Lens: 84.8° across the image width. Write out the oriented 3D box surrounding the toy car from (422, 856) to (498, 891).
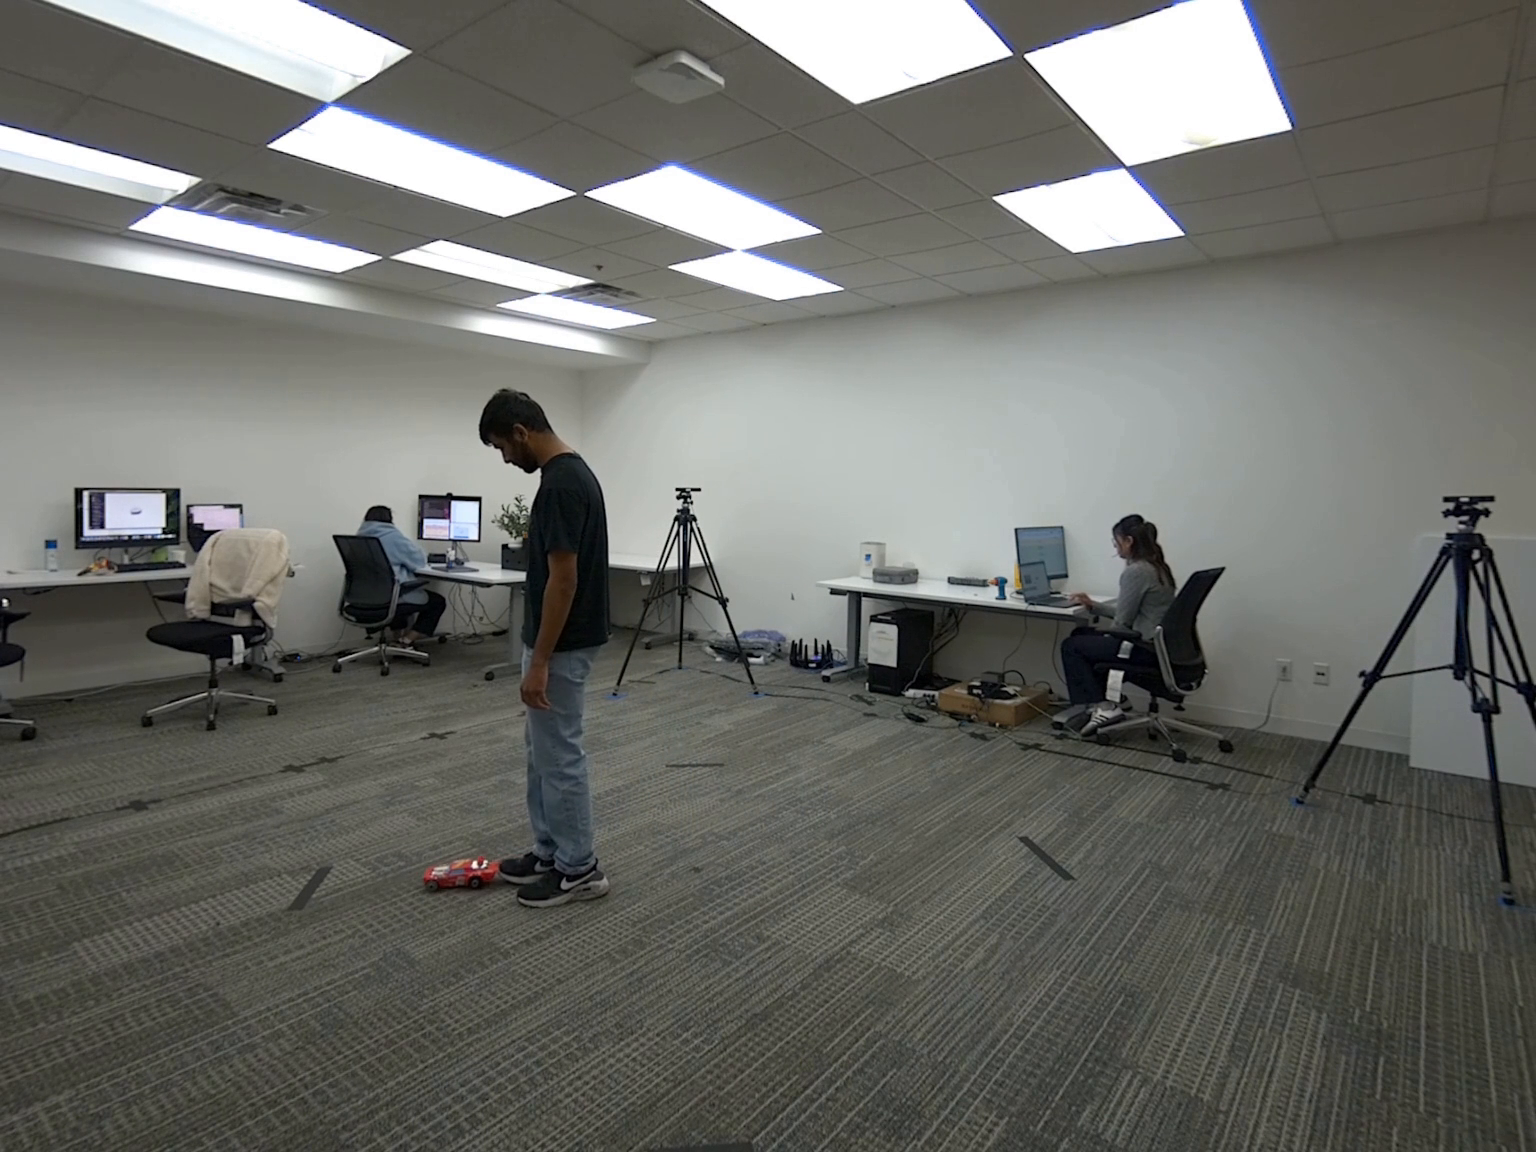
[{"bbox_3d":[-1.078,1.040,2.973,0.253,0.083,0.132,-12,6,-7],"label":"toy car"}]
